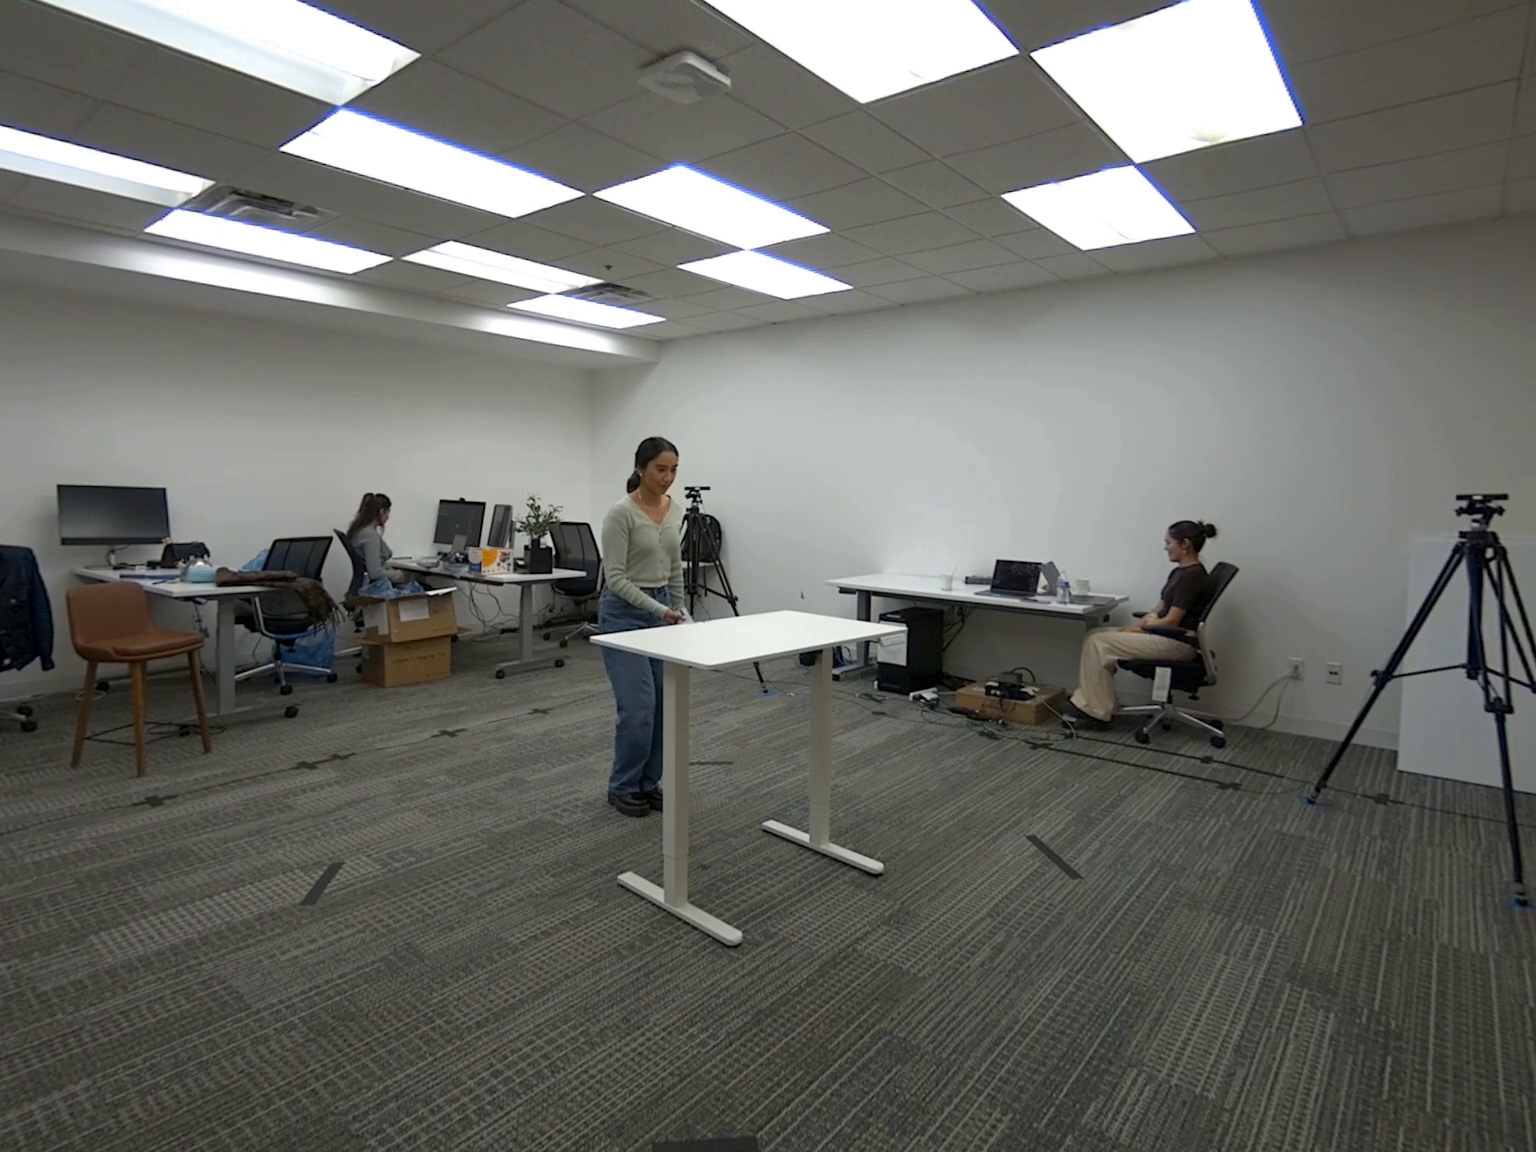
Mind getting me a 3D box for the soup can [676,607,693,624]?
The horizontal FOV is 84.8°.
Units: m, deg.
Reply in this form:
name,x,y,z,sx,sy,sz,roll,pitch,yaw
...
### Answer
name,x,y,z,sx,sy,sz,roll,pitch,yaw
soup can,-0.350,0.122,3.460,0.066,0.066,0.124,-1,11,-15
